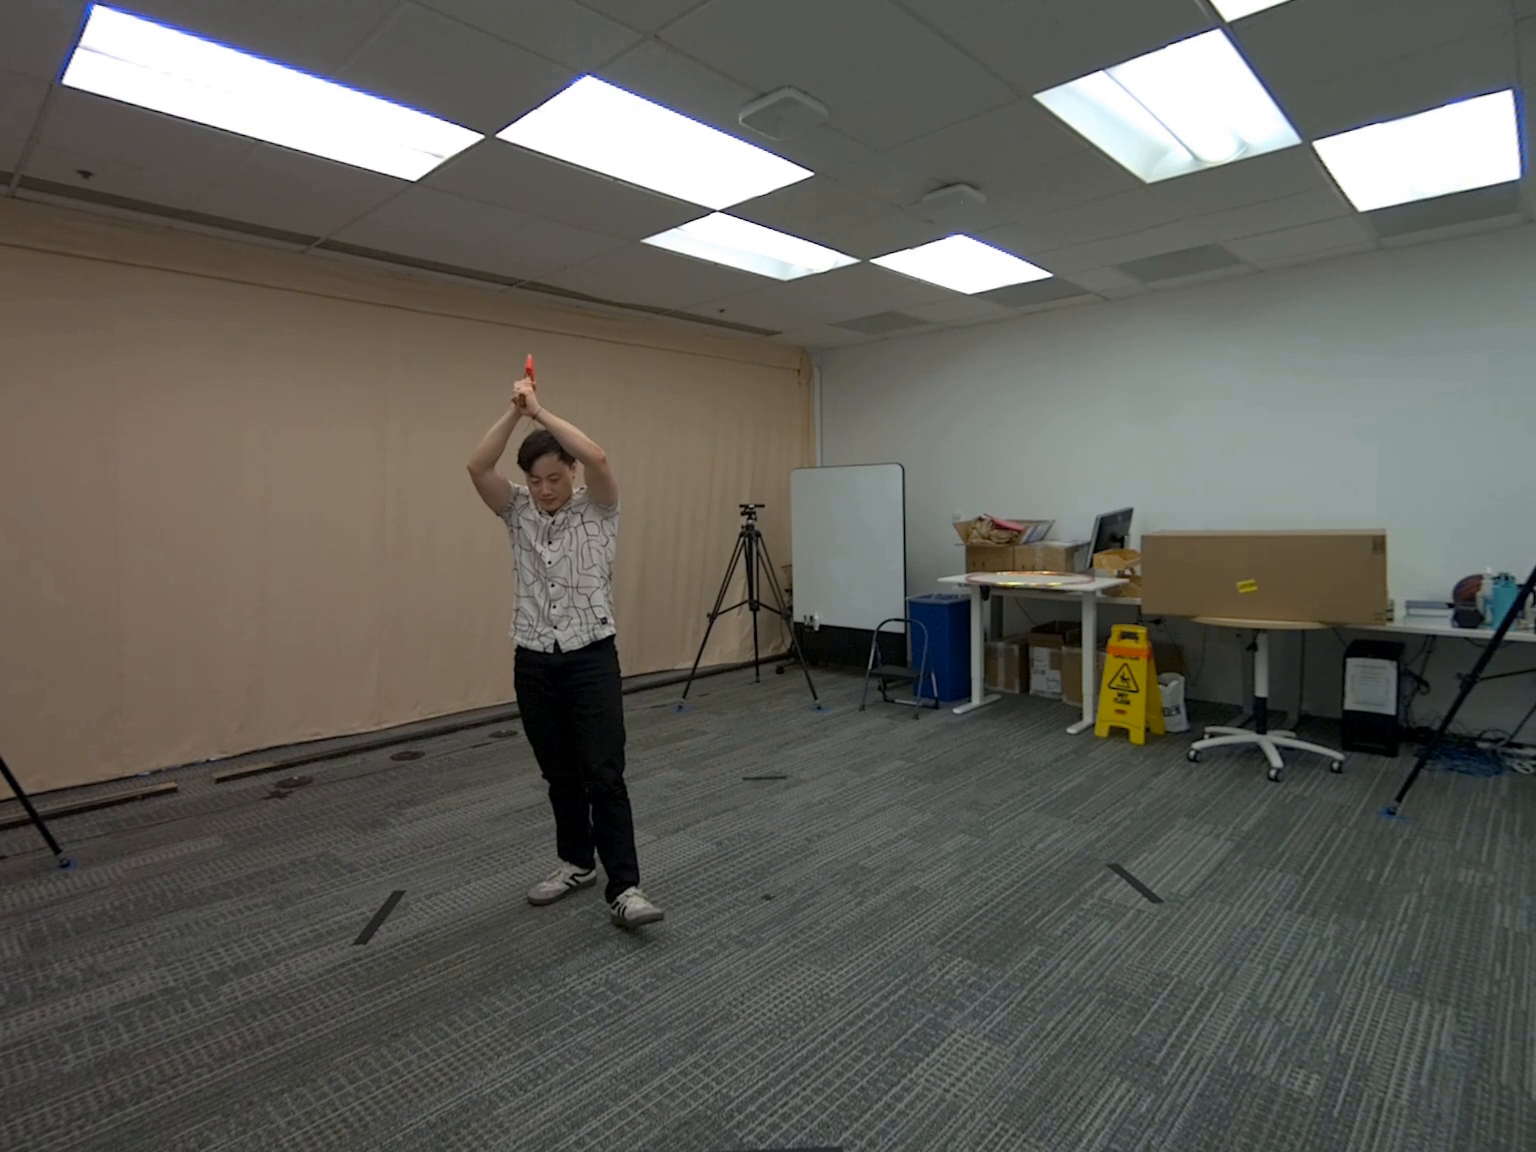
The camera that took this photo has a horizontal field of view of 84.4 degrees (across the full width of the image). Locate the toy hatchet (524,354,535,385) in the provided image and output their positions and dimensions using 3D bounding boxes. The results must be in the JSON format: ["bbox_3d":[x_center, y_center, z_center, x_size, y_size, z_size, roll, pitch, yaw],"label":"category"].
[{"bbox_3d":[-0.779,-0.641,2.708,0.029,0.130,0.276,4,22,-13],"label":"toy hatchet"}]
